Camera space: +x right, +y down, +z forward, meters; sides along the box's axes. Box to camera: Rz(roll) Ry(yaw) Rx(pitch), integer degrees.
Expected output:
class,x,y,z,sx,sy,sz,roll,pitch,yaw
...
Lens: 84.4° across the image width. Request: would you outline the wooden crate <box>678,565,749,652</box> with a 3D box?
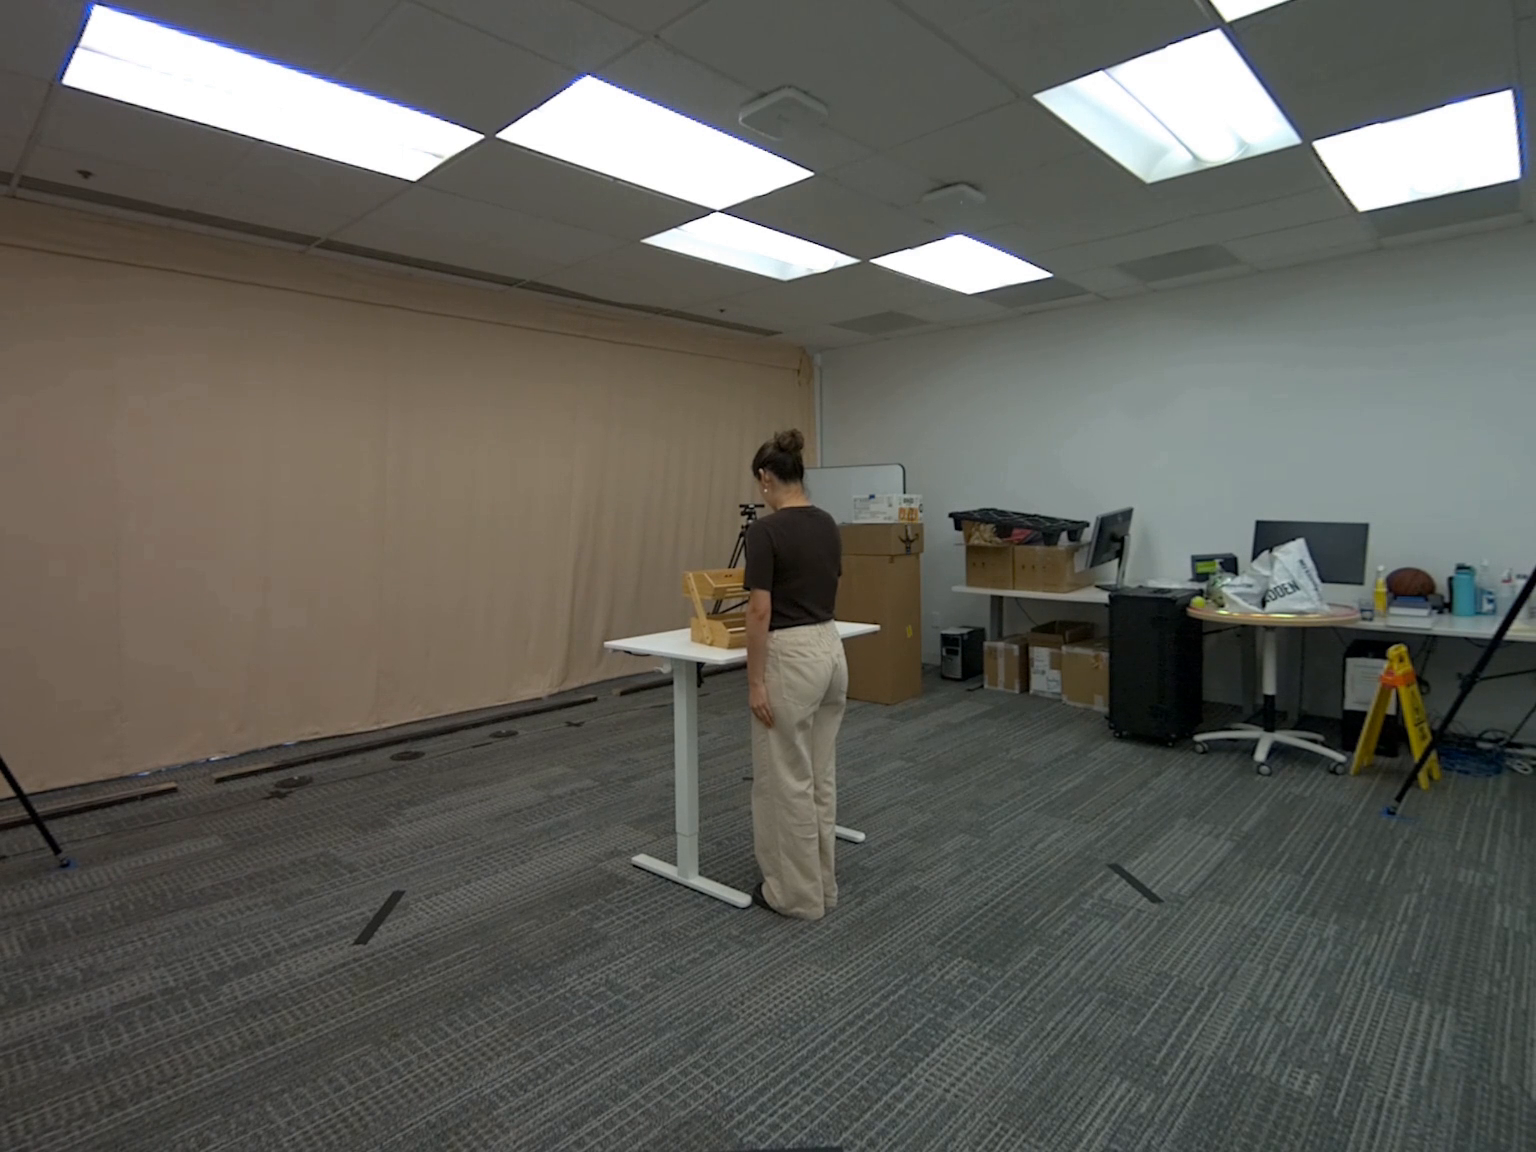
class,x,y,z,sx,sy,sz,roll,pitch,yaw
wooden crate,-0.113,0.109,3.158,0.315,0.273,0.311,-4,3,-37
